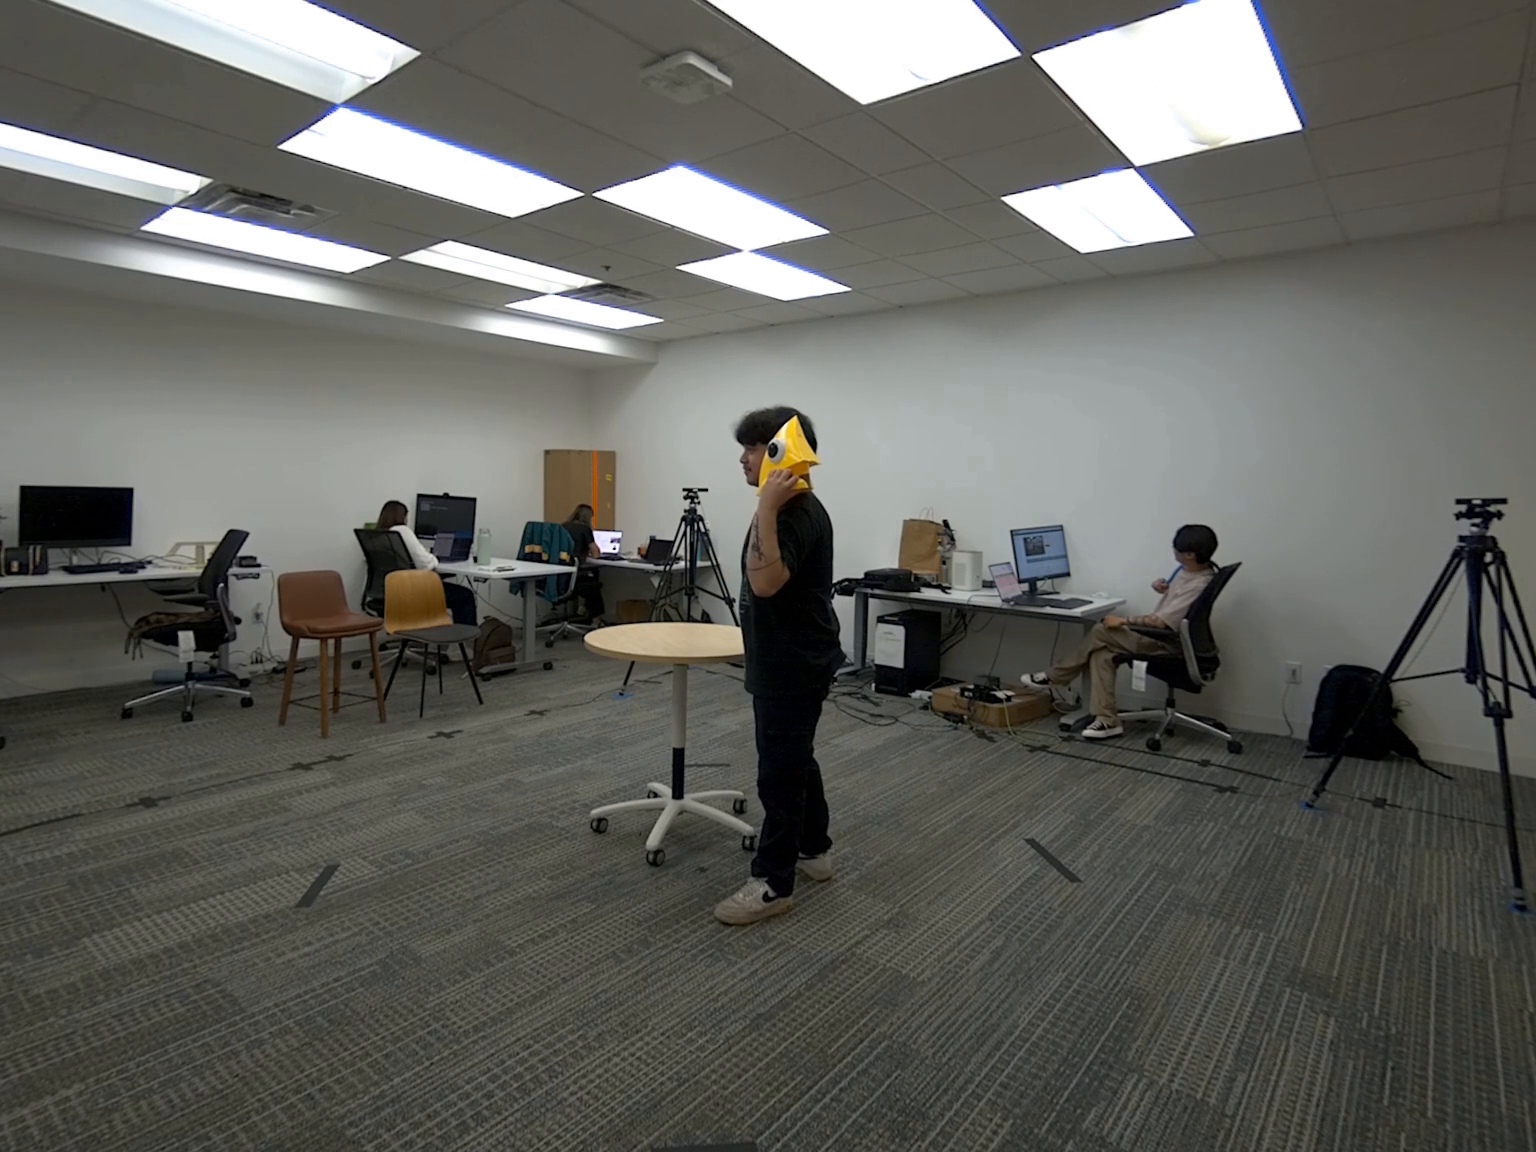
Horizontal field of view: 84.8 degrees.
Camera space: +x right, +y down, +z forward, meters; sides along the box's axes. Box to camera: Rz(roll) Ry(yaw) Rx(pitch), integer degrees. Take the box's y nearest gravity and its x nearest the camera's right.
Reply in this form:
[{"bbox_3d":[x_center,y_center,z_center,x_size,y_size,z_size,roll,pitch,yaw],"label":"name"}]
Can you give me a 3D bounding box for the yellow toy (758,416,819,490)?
[{"bbox_3d":[0.044,-0.383,2.668,0.196,0.231,0.201,-9,0,19],"label":"yellow toy"}]
